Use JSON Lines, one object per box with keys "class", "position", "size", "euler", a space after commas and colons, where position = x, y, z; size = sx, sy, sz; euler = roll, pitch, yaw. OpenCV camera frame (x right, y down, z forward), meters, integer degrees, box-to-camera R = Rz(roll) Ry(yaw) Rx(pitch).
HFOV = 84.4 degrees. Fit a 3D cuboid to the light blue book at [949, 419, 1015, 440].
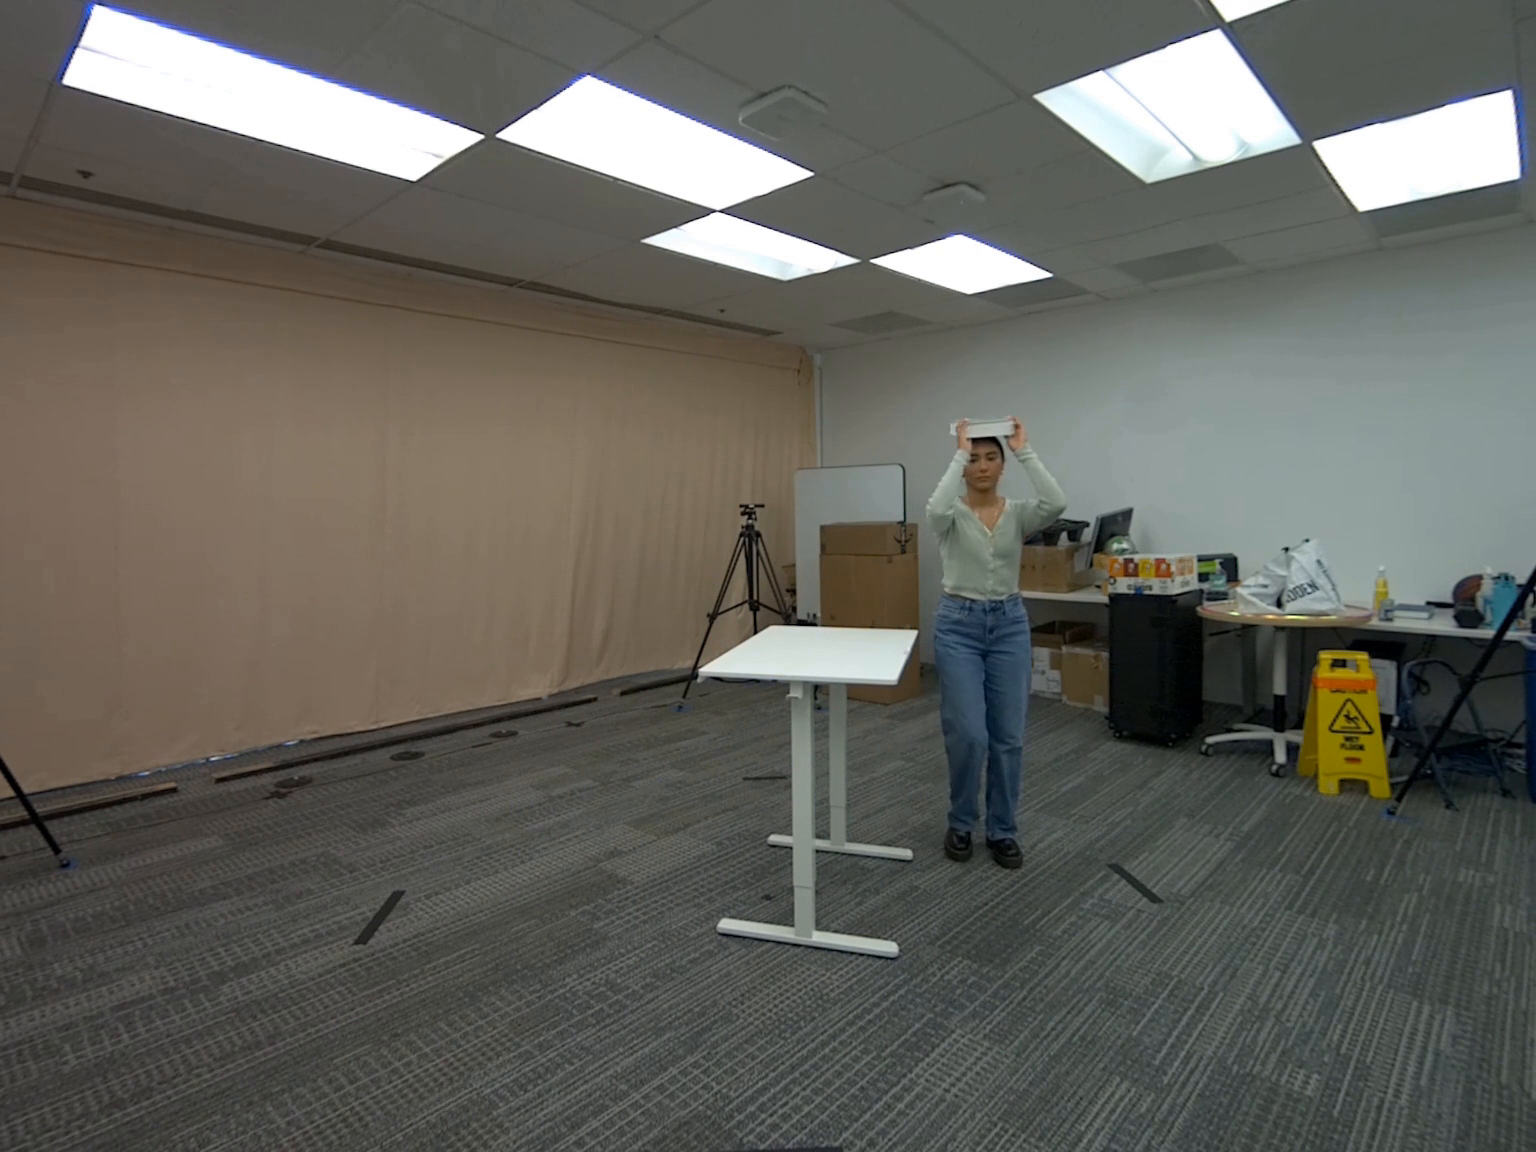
{"class": "light blue book", "position": [0.828, -0.573, 3.253], "size": [0.192, 0.058, 0.262], "euler": [-3, 12, 4]}
